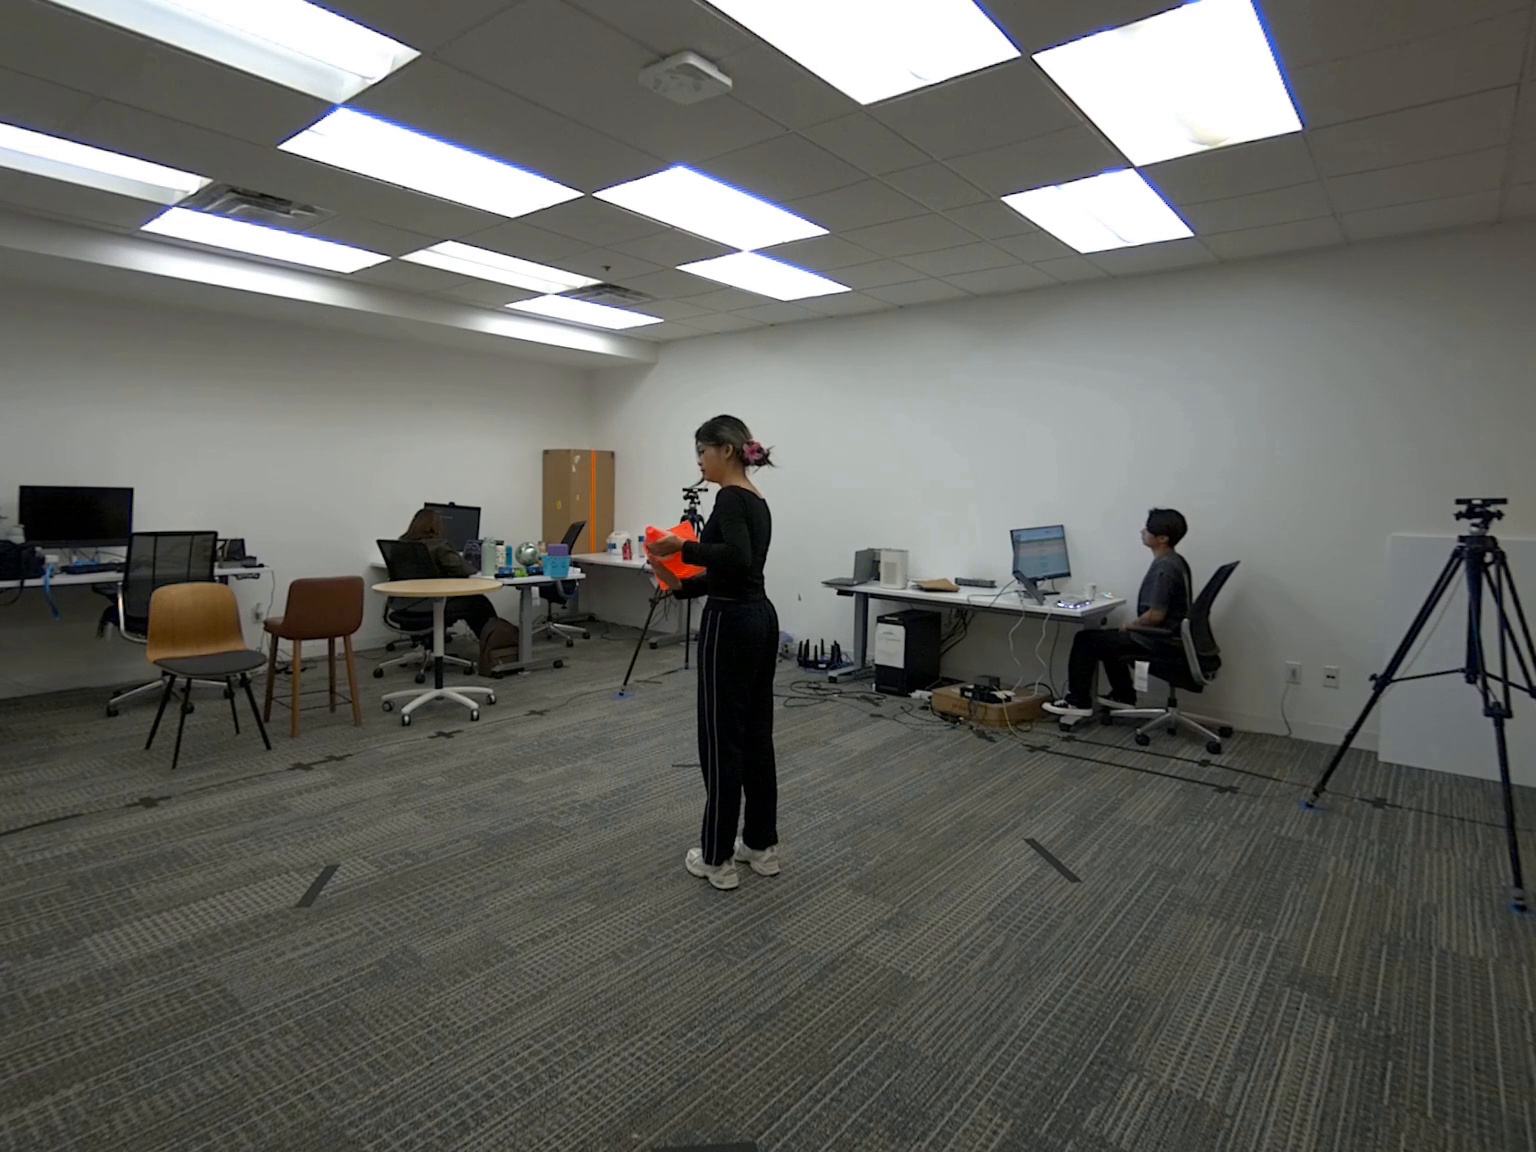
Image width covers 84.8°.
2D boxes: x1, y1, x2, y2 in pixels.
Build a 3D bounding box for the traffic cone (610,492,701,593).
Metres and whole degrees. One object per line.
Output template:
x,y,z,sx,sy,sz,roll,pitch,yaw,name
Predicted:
-0.370,-0.110,2.948,0.205,0.207,0.376,-27,-13,1,traffic cone
